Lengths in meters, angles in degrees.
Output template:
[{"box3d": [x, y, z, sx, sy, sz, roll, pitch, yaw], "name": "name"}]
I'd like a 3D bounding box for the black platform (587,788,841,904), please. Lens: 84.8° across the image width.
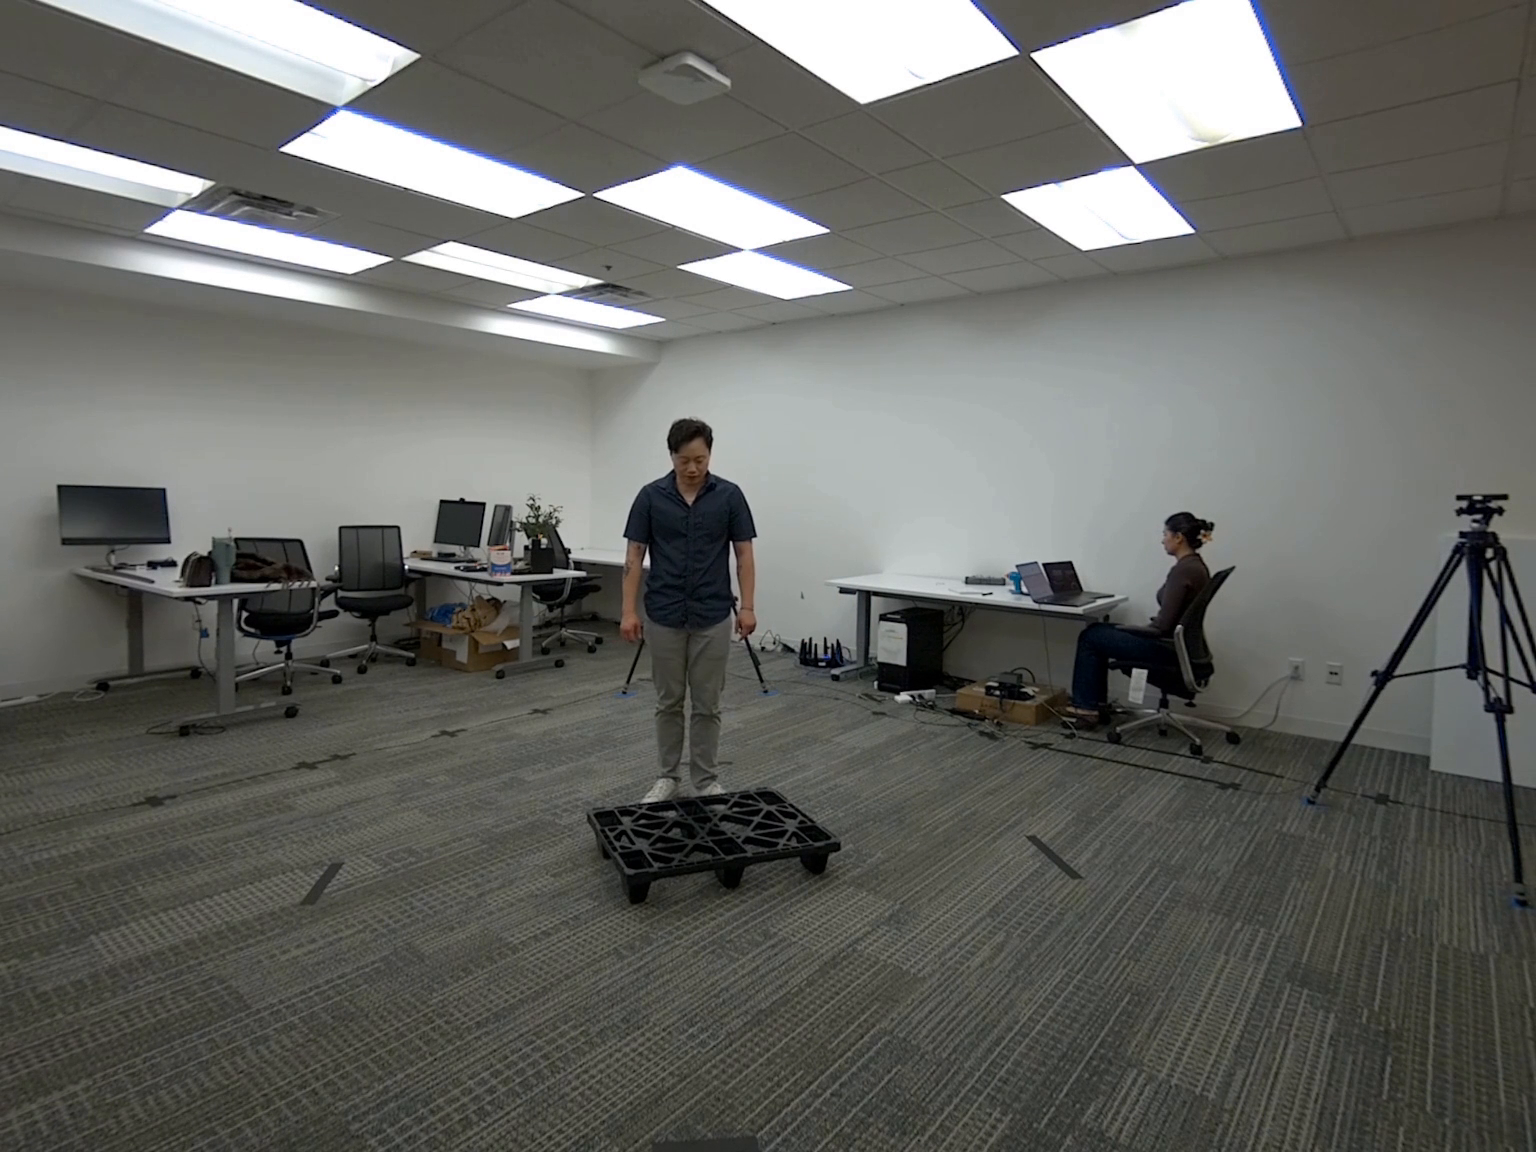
[{"box3d": [-0.225, 0.990, 3.170, 0.788, 0.143, 0.621, -2, 7, -23], "name": "black platform"}]
